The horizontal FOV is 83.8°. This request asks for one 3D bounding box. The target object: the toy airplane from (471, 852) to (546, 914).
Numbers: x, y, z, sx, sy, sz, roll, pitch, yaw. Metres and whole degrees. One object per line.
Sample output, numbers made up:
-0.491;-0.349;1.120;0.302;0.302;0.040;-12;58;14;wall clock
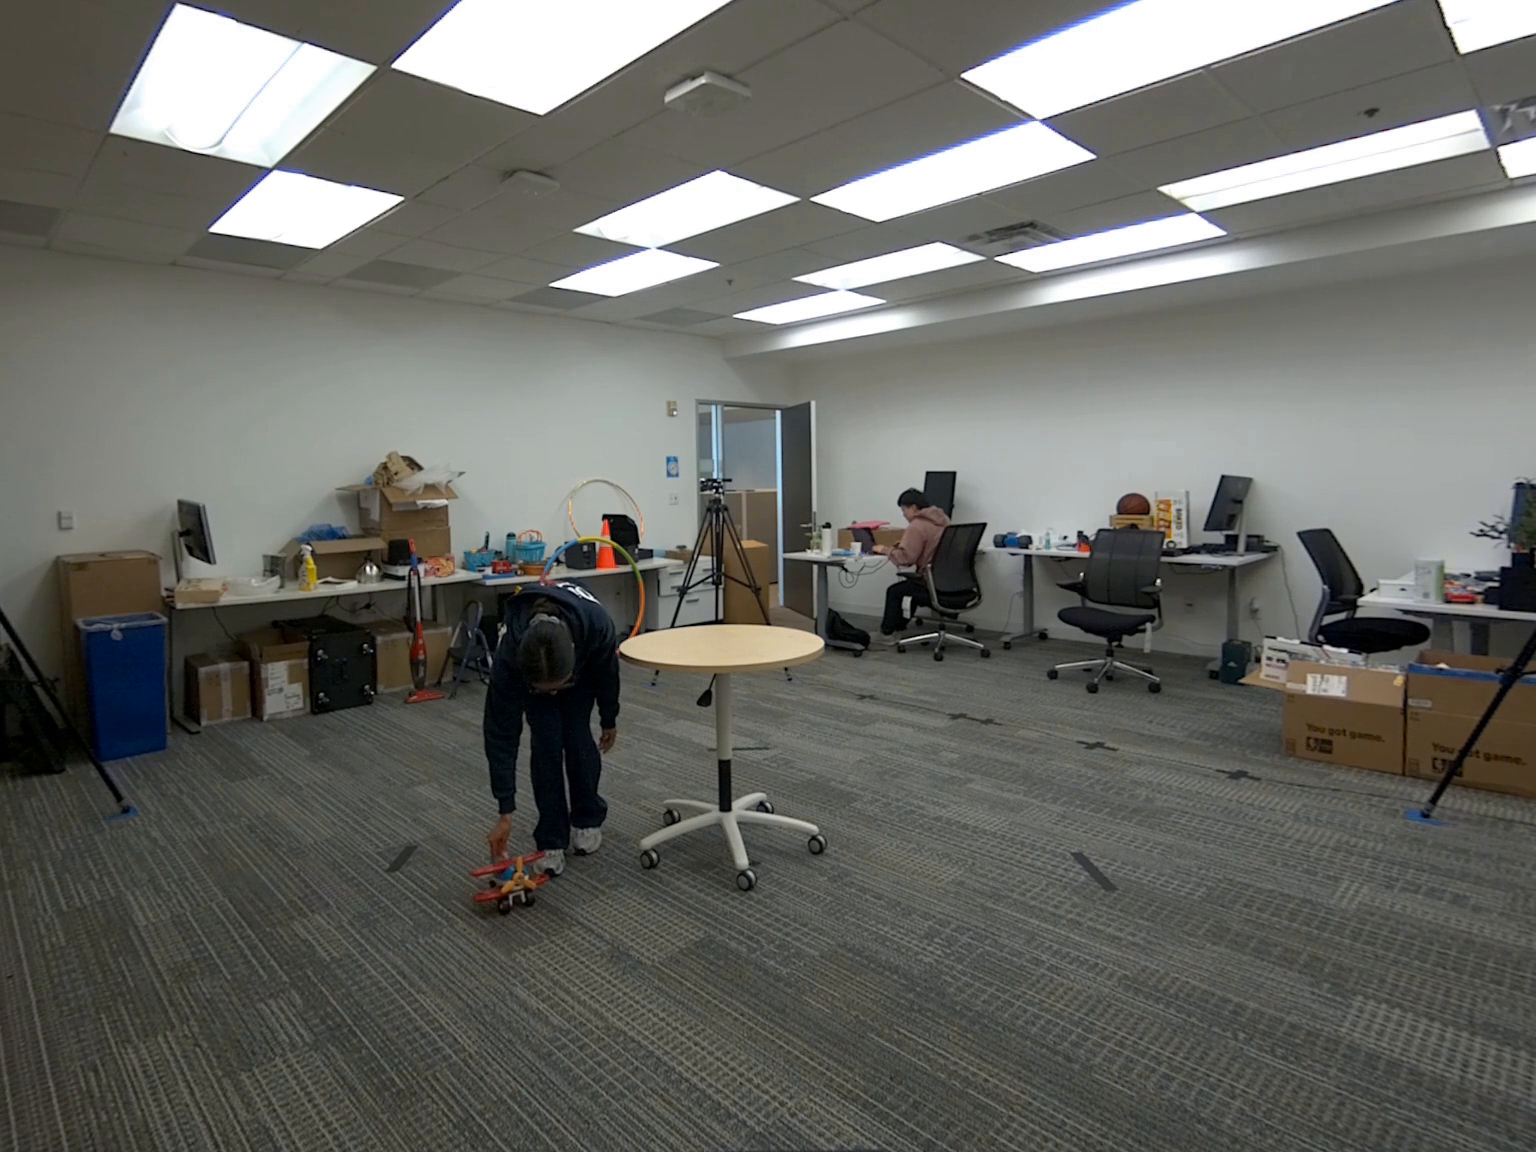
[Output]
-0.893;1.021;2.861;0.265;0.156;0.246;3;6;25;toy airplane
